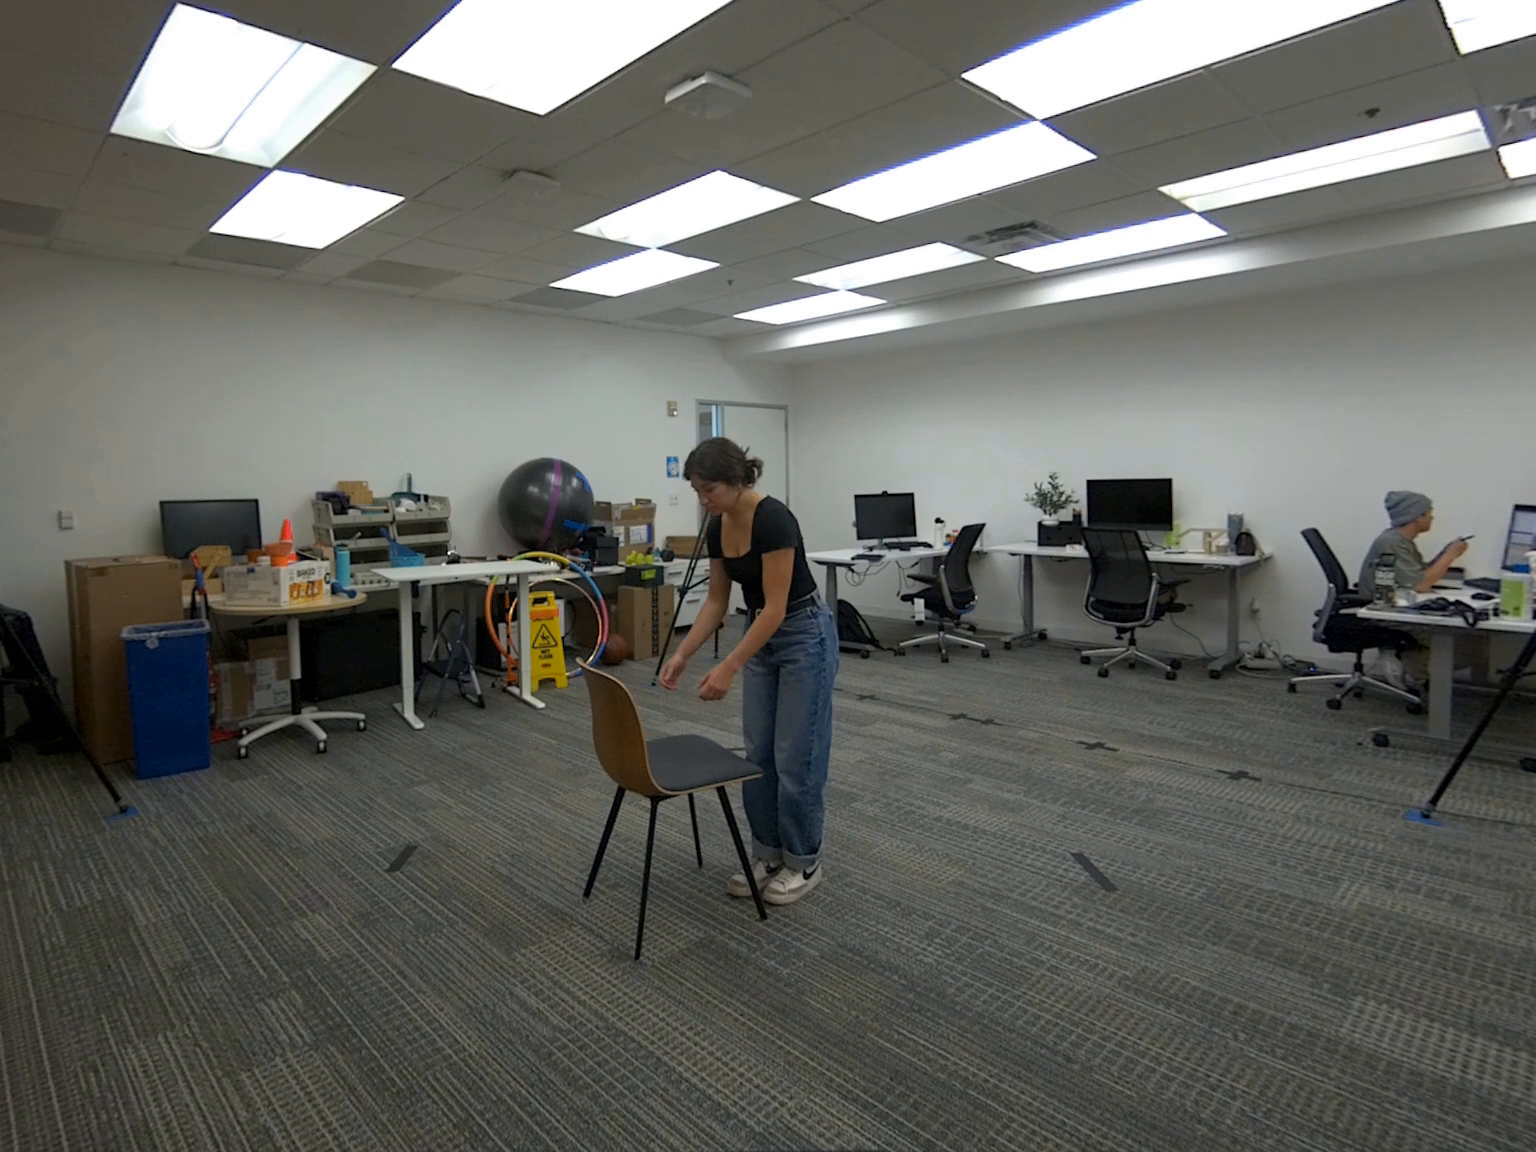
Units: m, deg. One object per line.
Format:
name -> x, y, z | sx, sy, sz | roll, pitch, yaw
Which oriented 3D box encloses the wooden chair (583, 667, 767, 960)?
wooden chair -> -0.314, 0.662, 2.766 | 0.512, 0.872, 0.491 | -8, 7, -31
